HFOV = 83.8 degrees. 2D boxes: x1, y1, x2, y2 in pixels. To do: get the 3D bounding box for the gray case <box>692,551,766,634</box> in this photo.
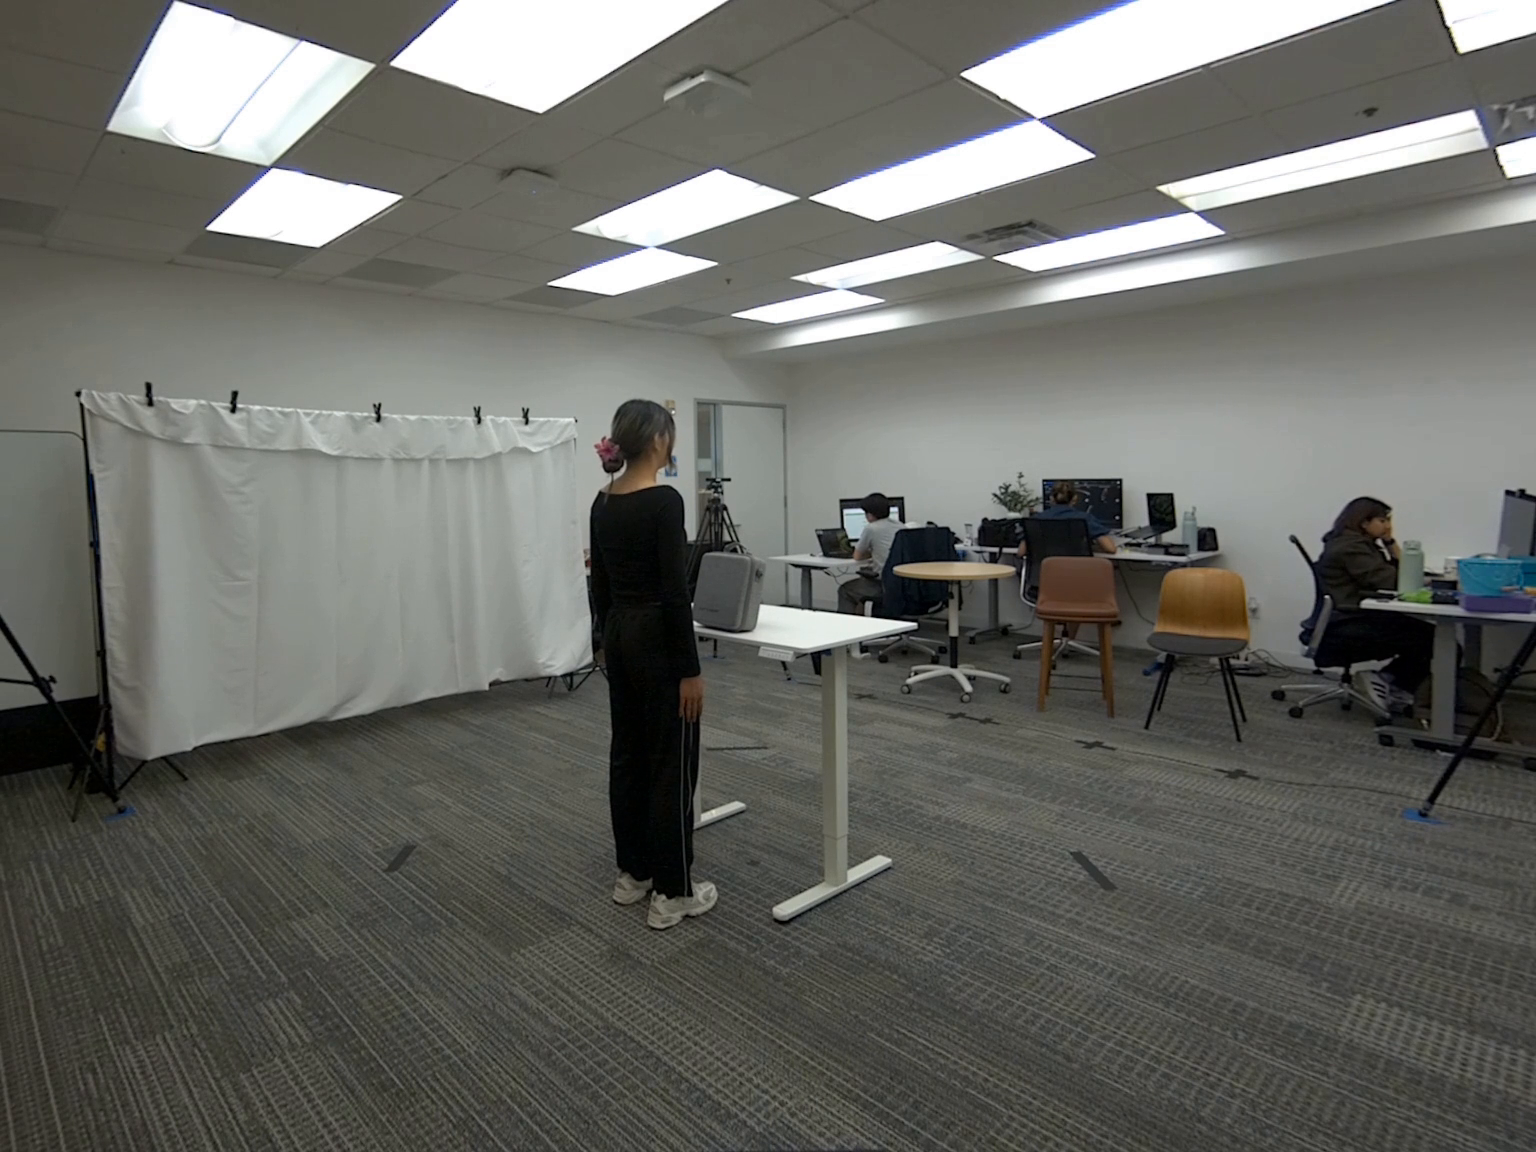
[{"bbox_3d":[-0.135,0.048,2.925,0.101,0.261,0.265,11,-4,-38],"label":"gray case"}]
